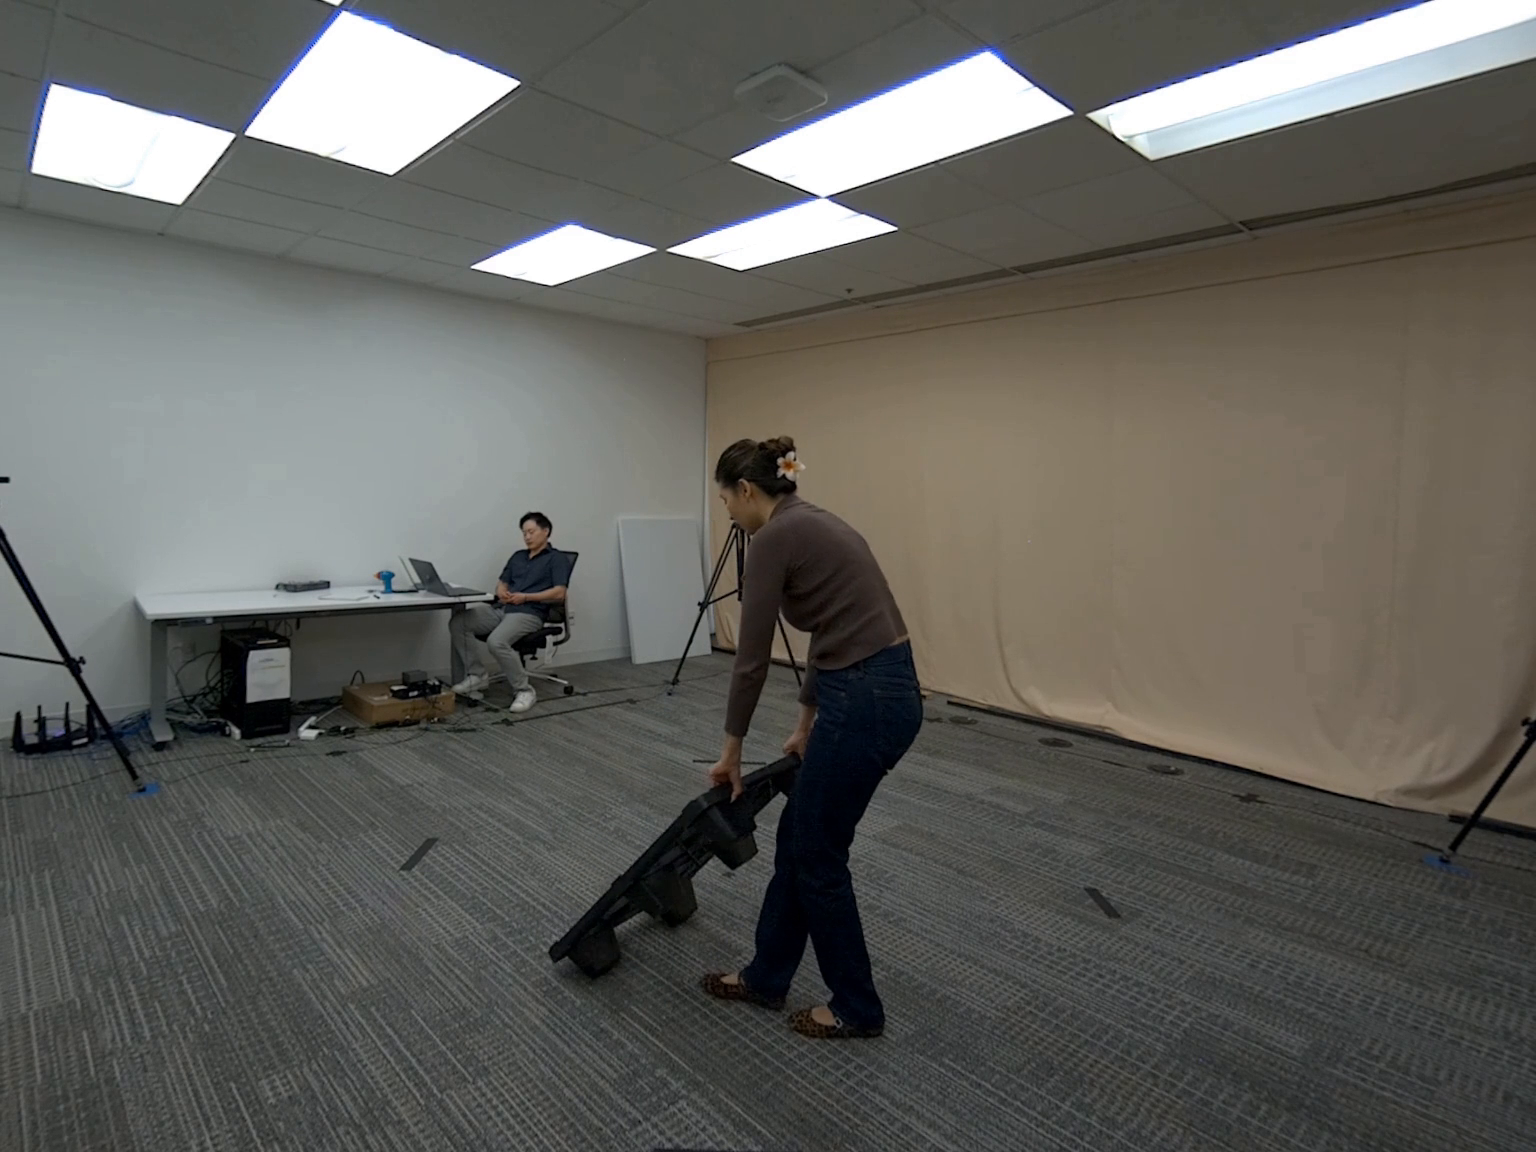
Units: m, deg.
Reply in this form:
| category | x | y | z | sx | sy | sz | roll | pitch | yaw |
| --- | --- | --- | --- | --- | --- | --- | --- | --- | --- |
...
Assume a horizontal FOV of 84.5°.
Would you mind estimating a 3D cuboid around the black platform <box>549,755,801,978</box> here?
| category | x | y | z | sx | sy | sz | roll | pitch | yaw |
| --- | --- | --- | --- | --- | --- | --- | --- | --- | --- |
| black platform | -0.214 | 0.843 | 2.463 | 0.146 | 0.804 | 0.593 | 50 | 27 | 19 |
